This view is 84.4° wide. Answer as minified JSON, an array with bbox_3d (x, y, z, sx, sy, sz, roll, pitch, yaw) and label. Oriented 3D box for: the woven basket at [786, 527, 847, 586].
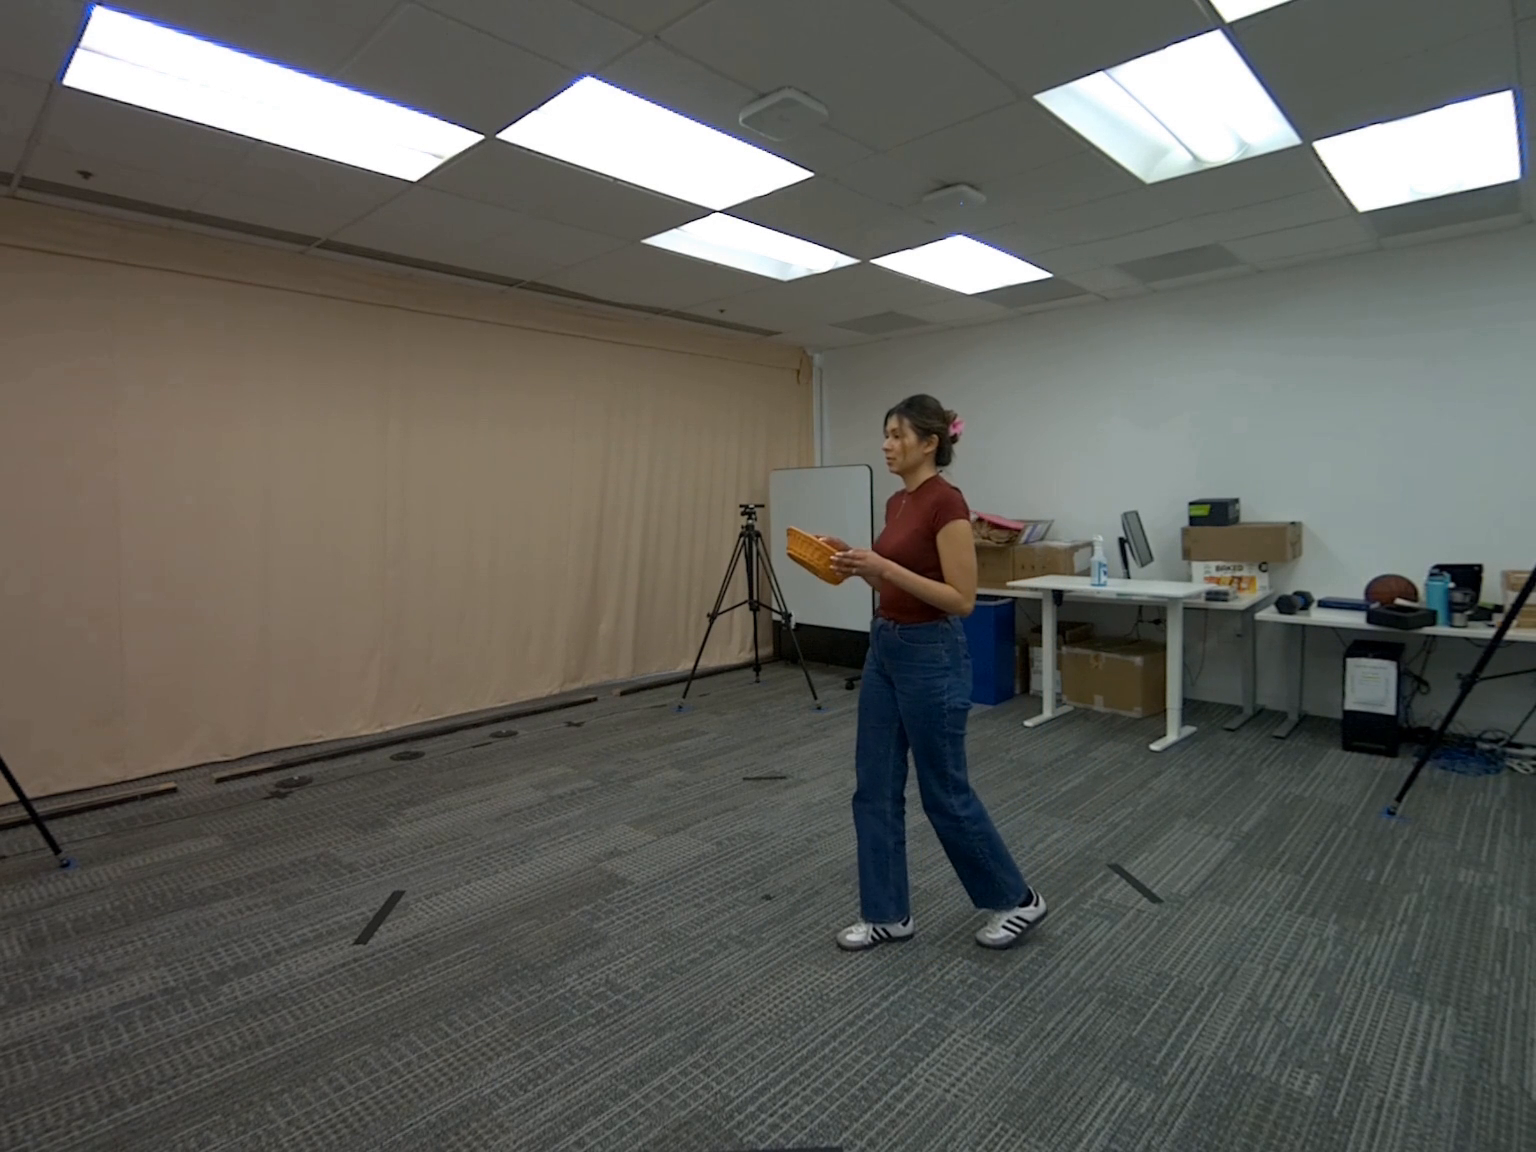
[{"bbox_3d":[0.166,-0.049,2.526,0.252,0.073,0.352,32,0,-4],"label":"woven basket"}]
